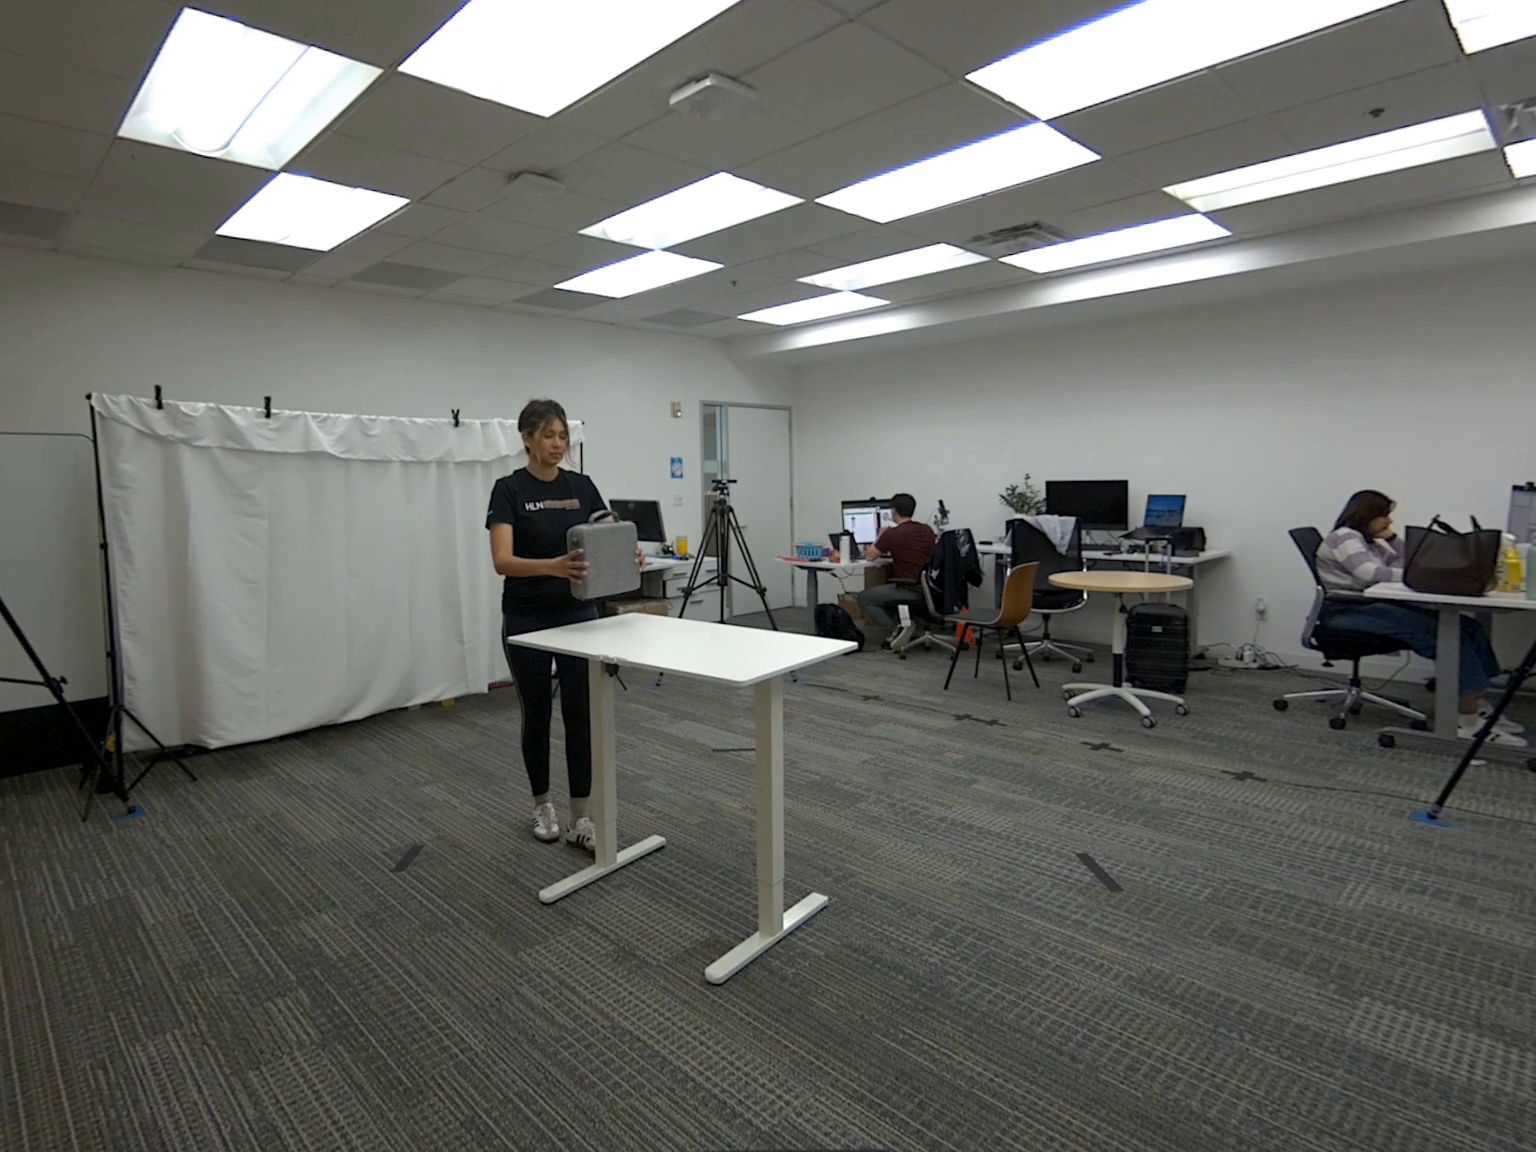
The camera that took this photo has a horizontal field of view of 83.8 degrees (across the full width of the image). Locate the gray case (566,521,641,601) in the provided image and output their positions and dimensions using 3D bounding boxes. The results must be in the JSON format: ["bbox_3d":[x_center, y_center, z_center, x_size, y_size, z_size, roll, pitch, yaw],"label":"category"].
[{"bbox_3d":[-0.581,-0.066,3.025,0.107,0.259,0.251,-2,7,41],"label":"gray case"}]
